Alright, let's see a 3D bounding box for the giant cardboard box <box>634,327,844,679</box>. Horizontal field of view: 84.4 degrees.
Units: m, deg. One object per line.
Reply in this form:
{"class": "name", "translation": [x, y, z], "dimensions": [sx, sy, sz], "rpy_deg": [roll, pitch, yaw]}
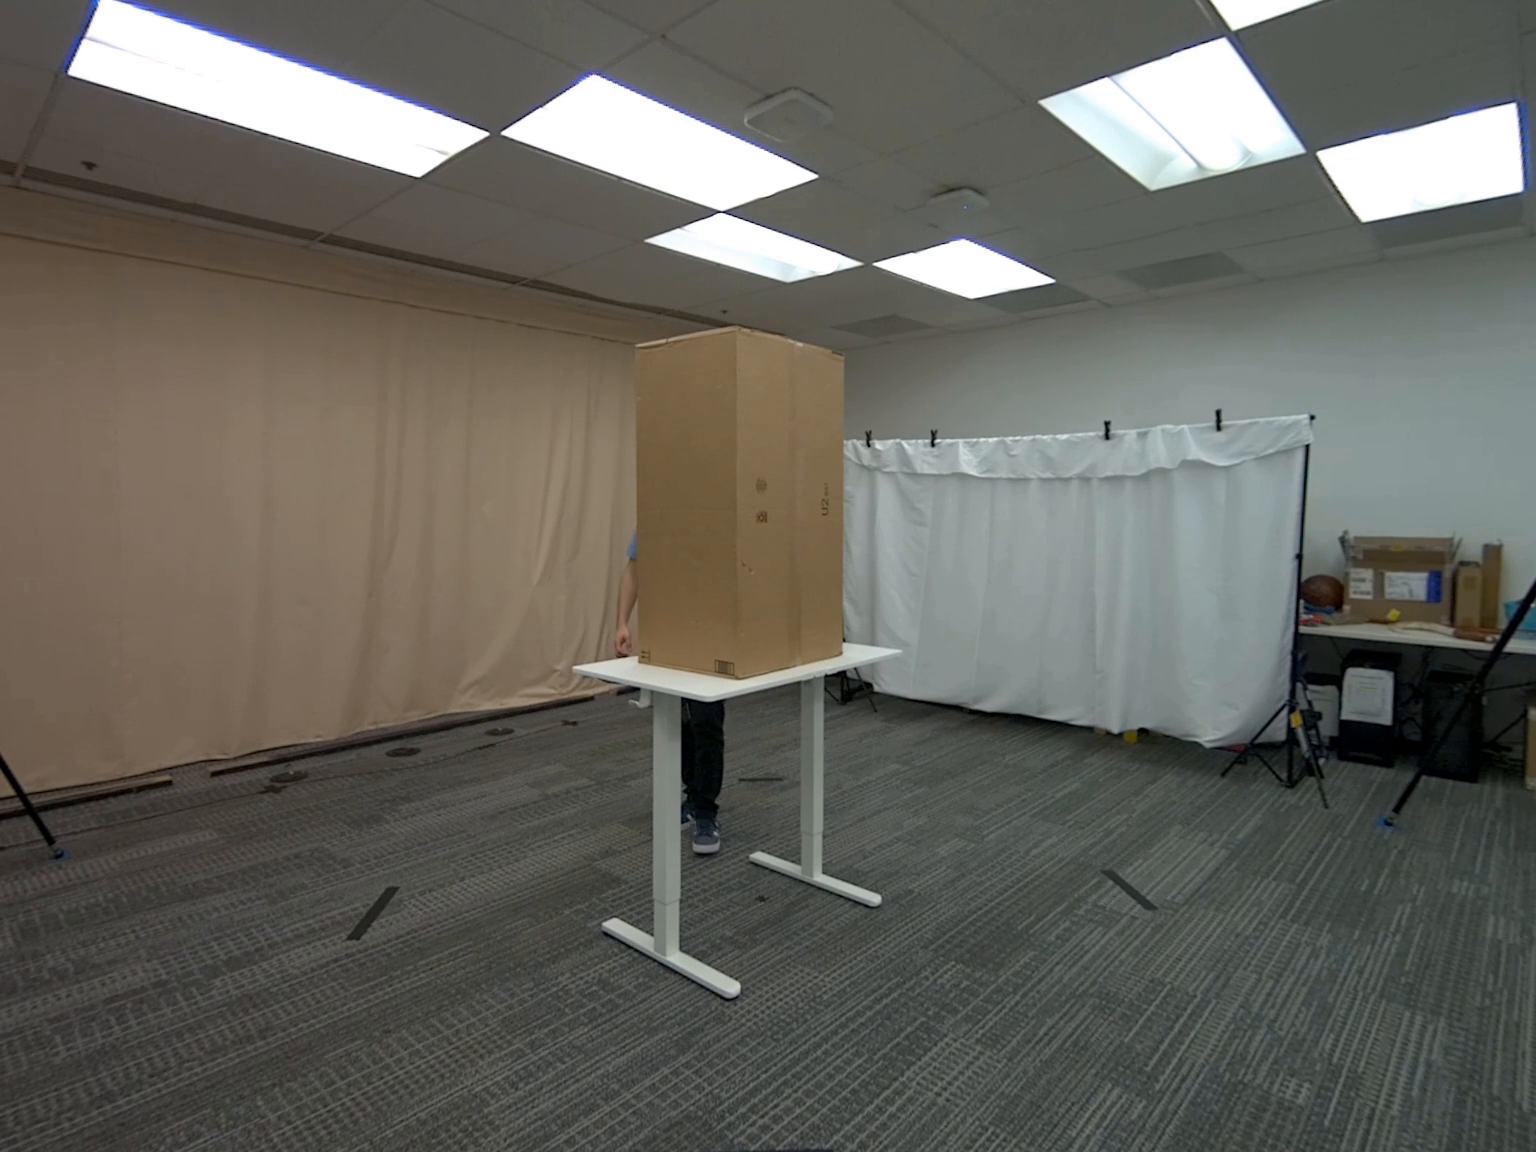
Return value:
{"class": "giant cardboard box", "translation": [-0.080, -0.229, 2.774], "dimensions": [0.440, 1.024, 0.560], "rpy_deg": [3, 4, 40]}
